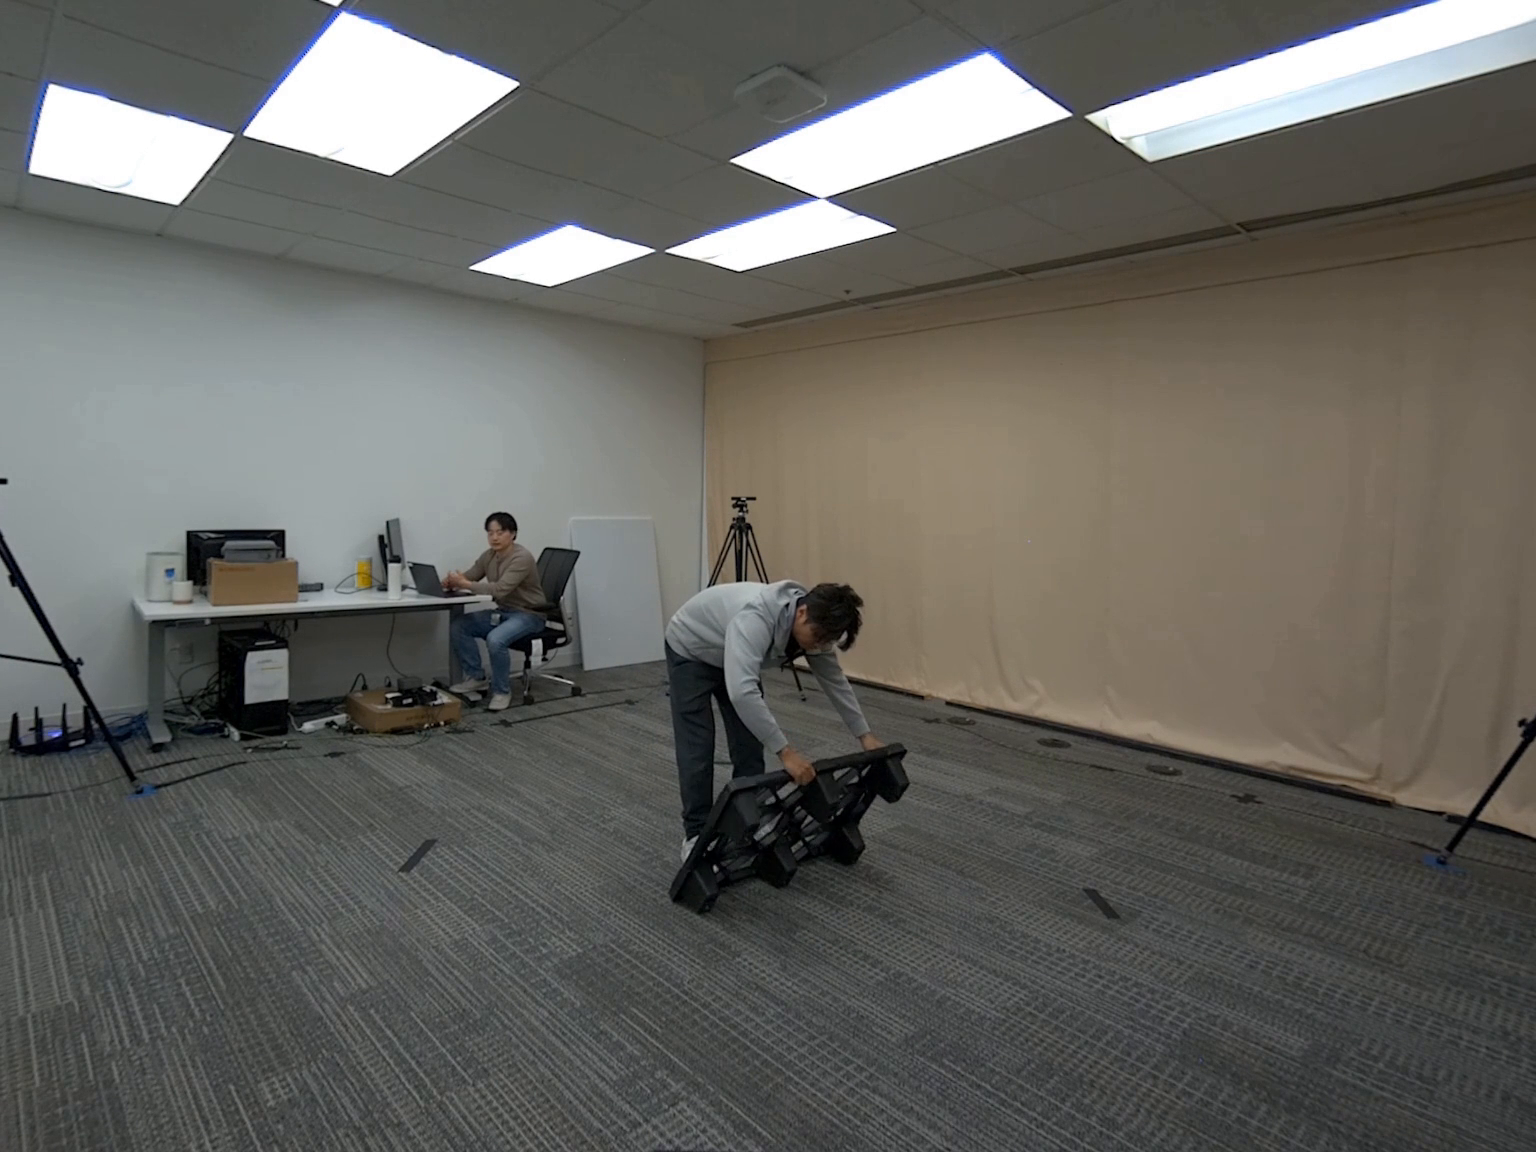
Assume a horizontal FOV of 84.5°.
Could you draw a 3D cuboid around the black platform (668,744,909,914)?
[{"bbox_3d":[0.096,0.892,2.946,0.788,0.599,0.148,-2,39,-37],"label":"black platform"}]
